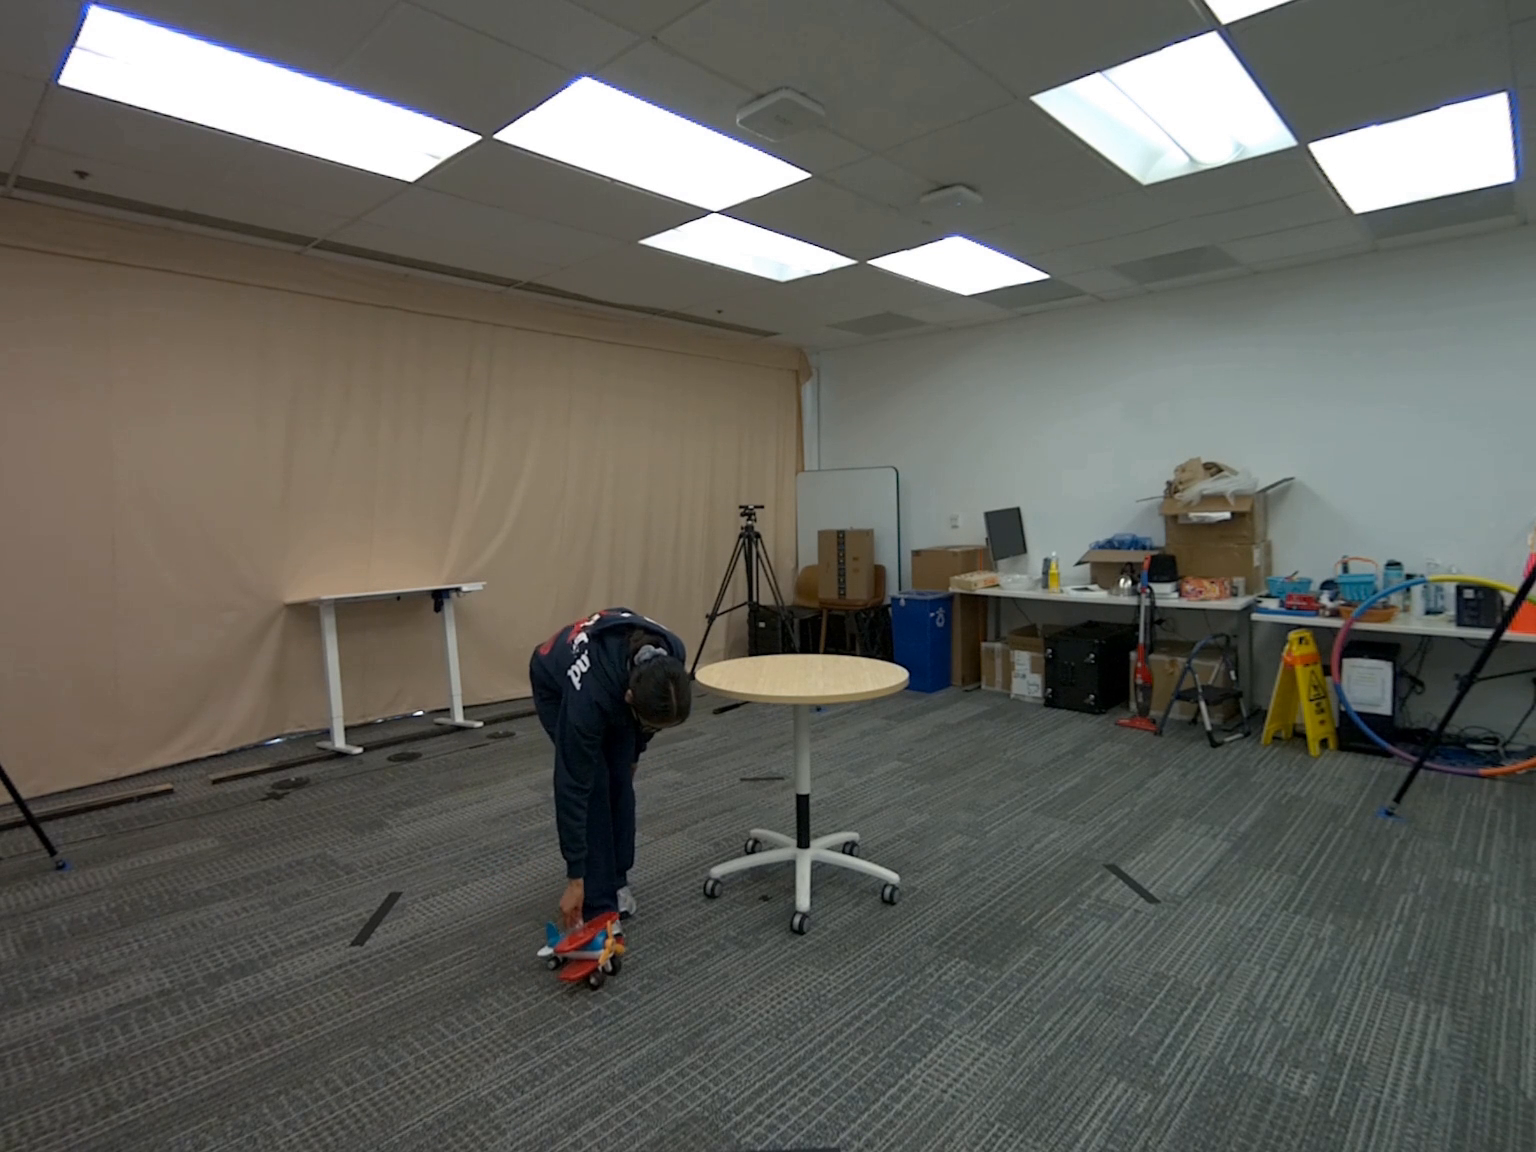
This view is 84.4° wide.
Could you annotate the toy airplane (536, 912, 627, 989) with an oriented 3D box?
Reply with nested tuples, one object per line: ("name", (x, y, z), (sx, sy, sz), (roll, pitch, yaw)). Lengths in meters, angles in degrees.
("toy airplane", (-0.570, 1.121, 2.503), (0.260, 0.156, 0.251), (0, 4, 1))
